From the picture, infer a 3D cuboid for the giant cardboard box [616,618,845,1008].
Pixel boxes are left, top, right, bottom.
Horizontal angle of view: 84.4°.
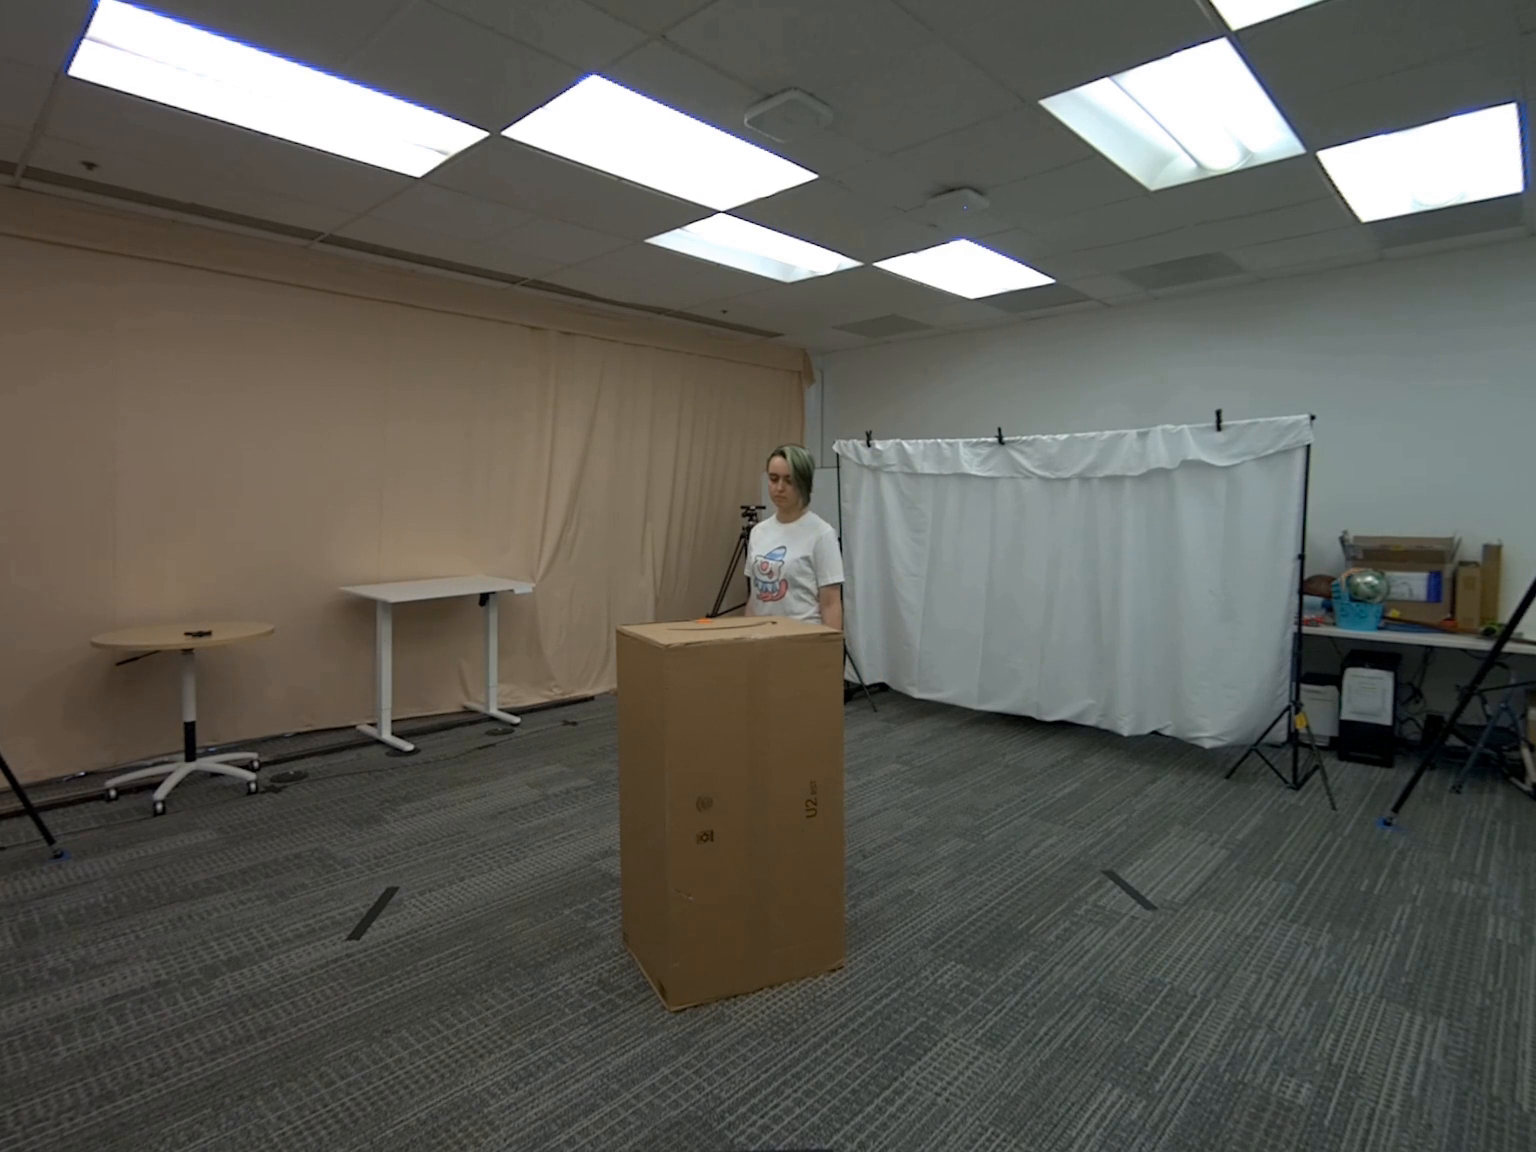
[{"bbox_3d":[-0.124,0.671,2.586,0.570,1.024,0.459,-2,4,-27],"label":"giant cardboard box"}]
